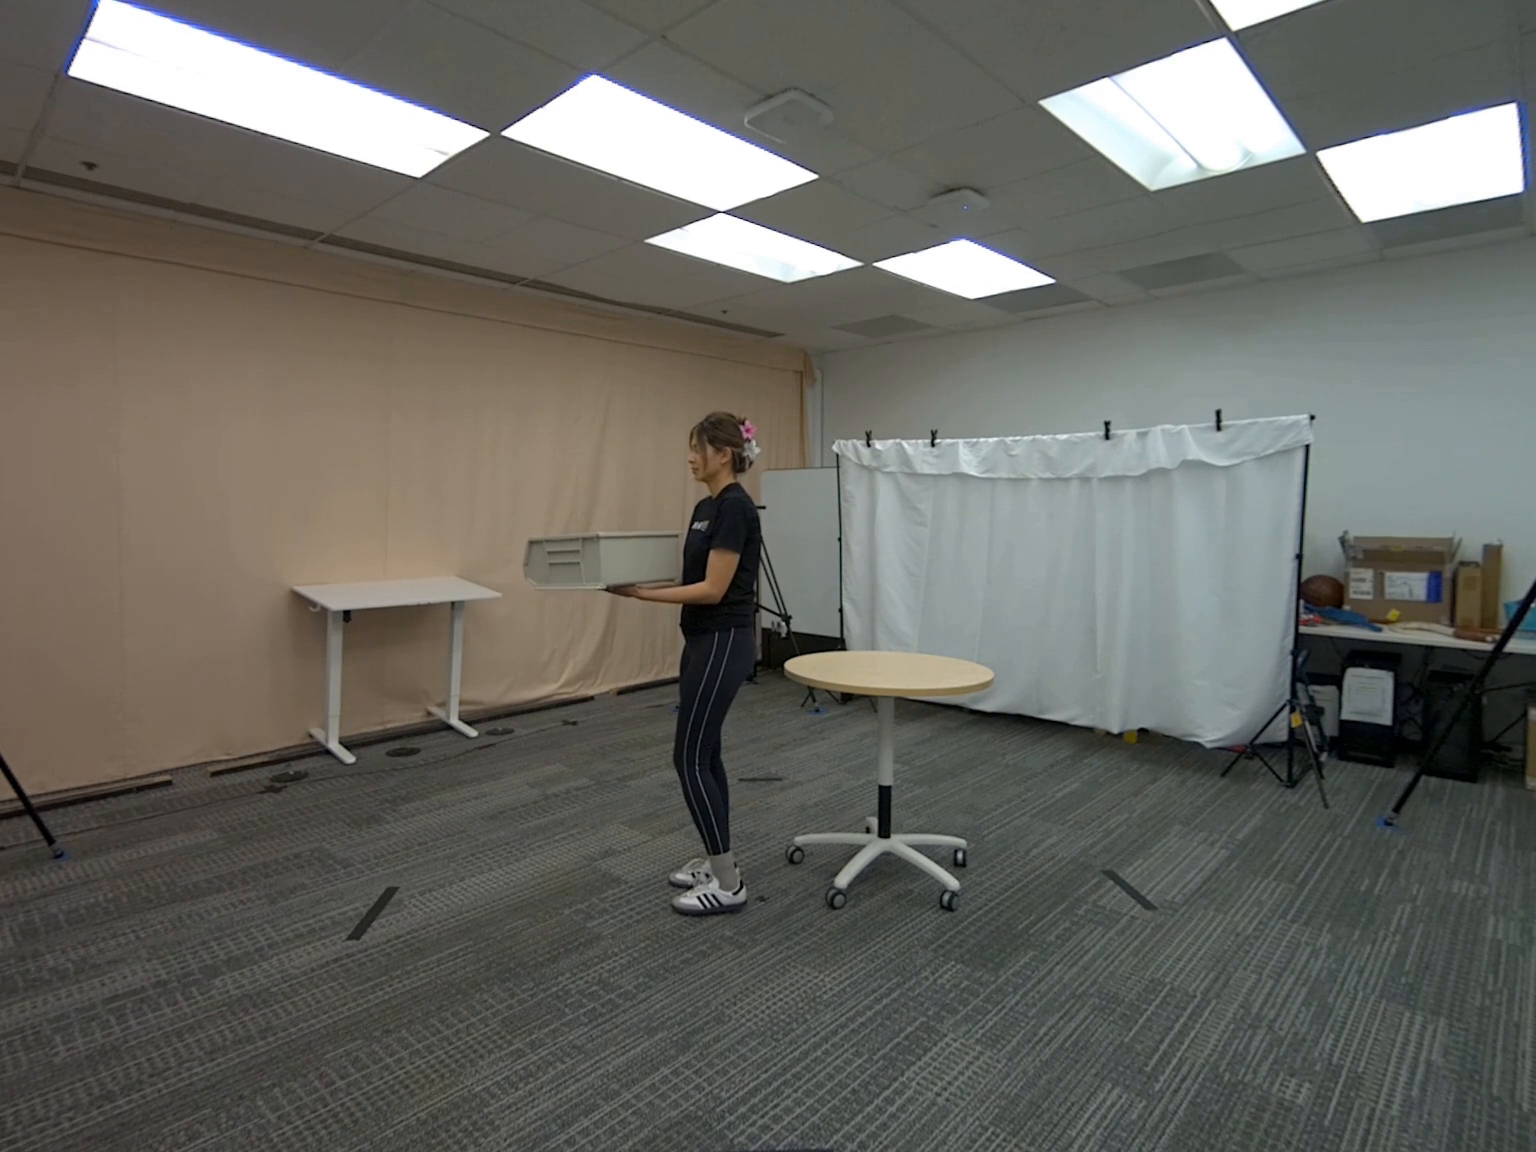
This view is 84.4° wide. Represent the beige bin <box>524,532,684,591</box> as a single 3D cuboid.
[{"bbox_3d":[-0.570,-0.053,2.935,0.389,0.189,0.410,0,2,36],"label":"beige bin"}]
